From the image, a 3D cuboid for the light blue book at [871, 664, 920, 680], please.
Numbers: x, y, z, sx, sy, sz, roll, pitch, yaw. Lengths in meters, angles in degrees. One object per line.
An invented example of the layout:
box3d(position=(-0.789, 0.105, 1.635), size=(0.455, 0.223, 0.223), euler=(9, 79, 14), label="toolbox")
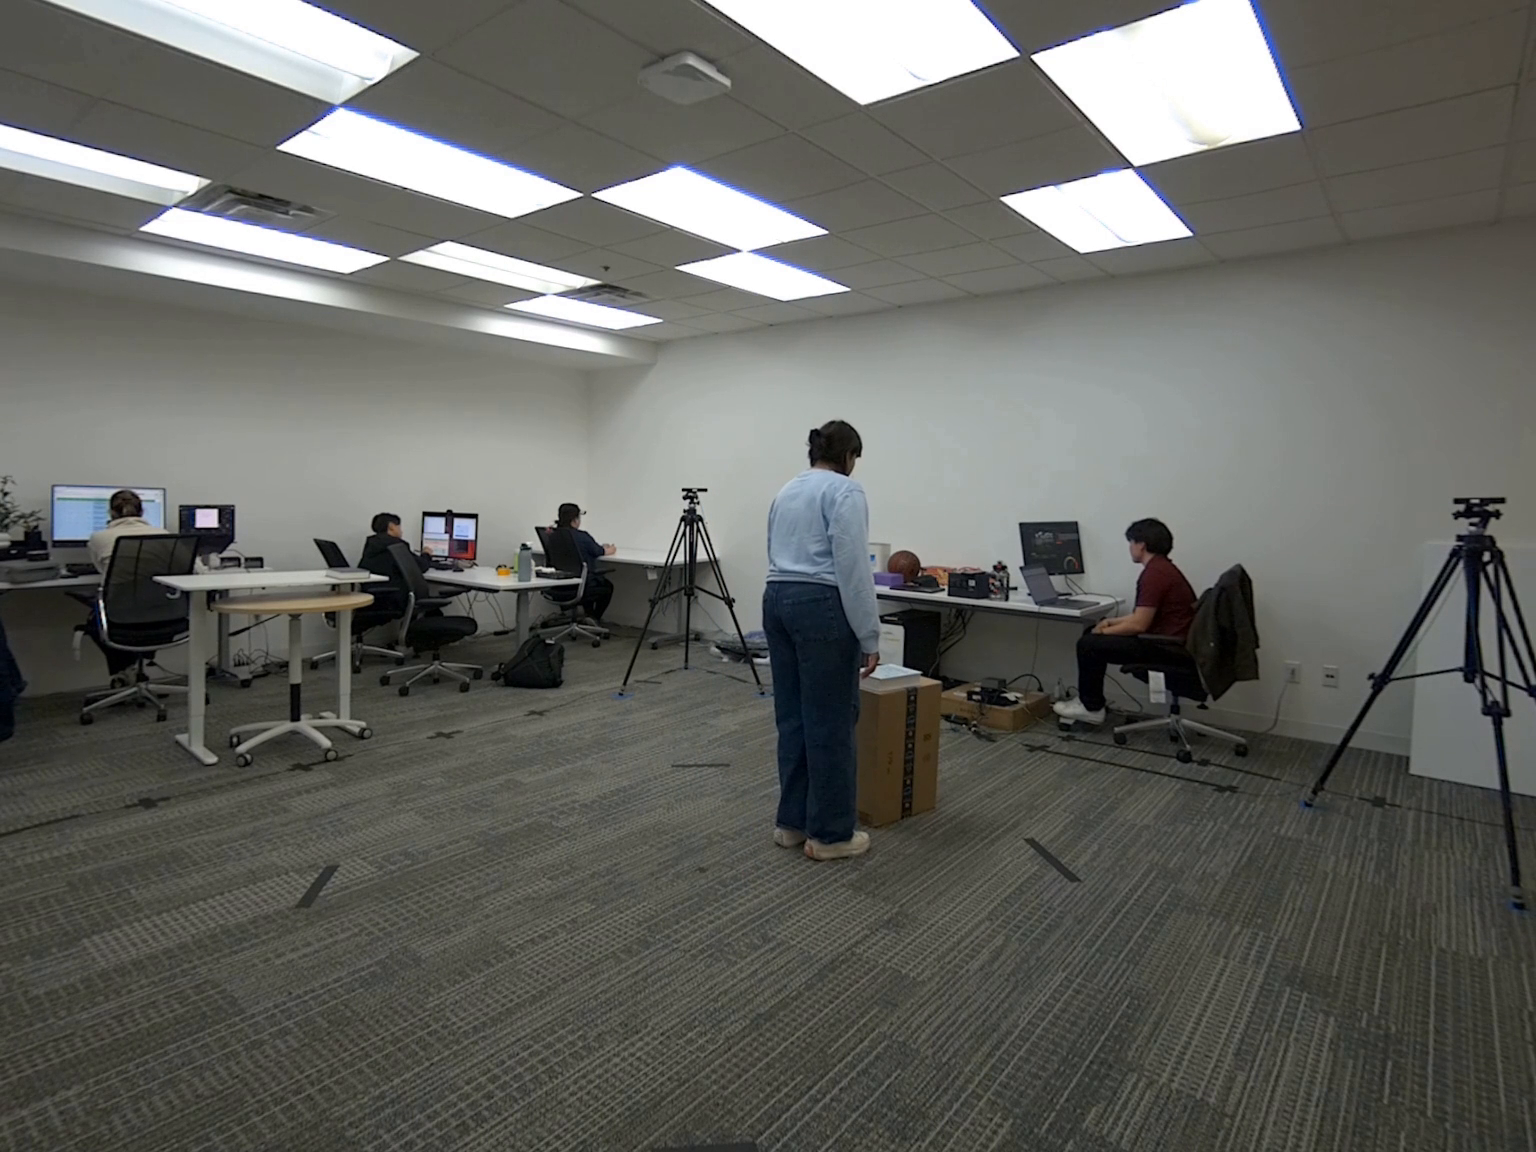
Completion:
box3d(position=(0.503, 0.437, 3.679), size=(0.253, 0.059, 0.198), euler=(-3, 9, -37), label="light blue book")
